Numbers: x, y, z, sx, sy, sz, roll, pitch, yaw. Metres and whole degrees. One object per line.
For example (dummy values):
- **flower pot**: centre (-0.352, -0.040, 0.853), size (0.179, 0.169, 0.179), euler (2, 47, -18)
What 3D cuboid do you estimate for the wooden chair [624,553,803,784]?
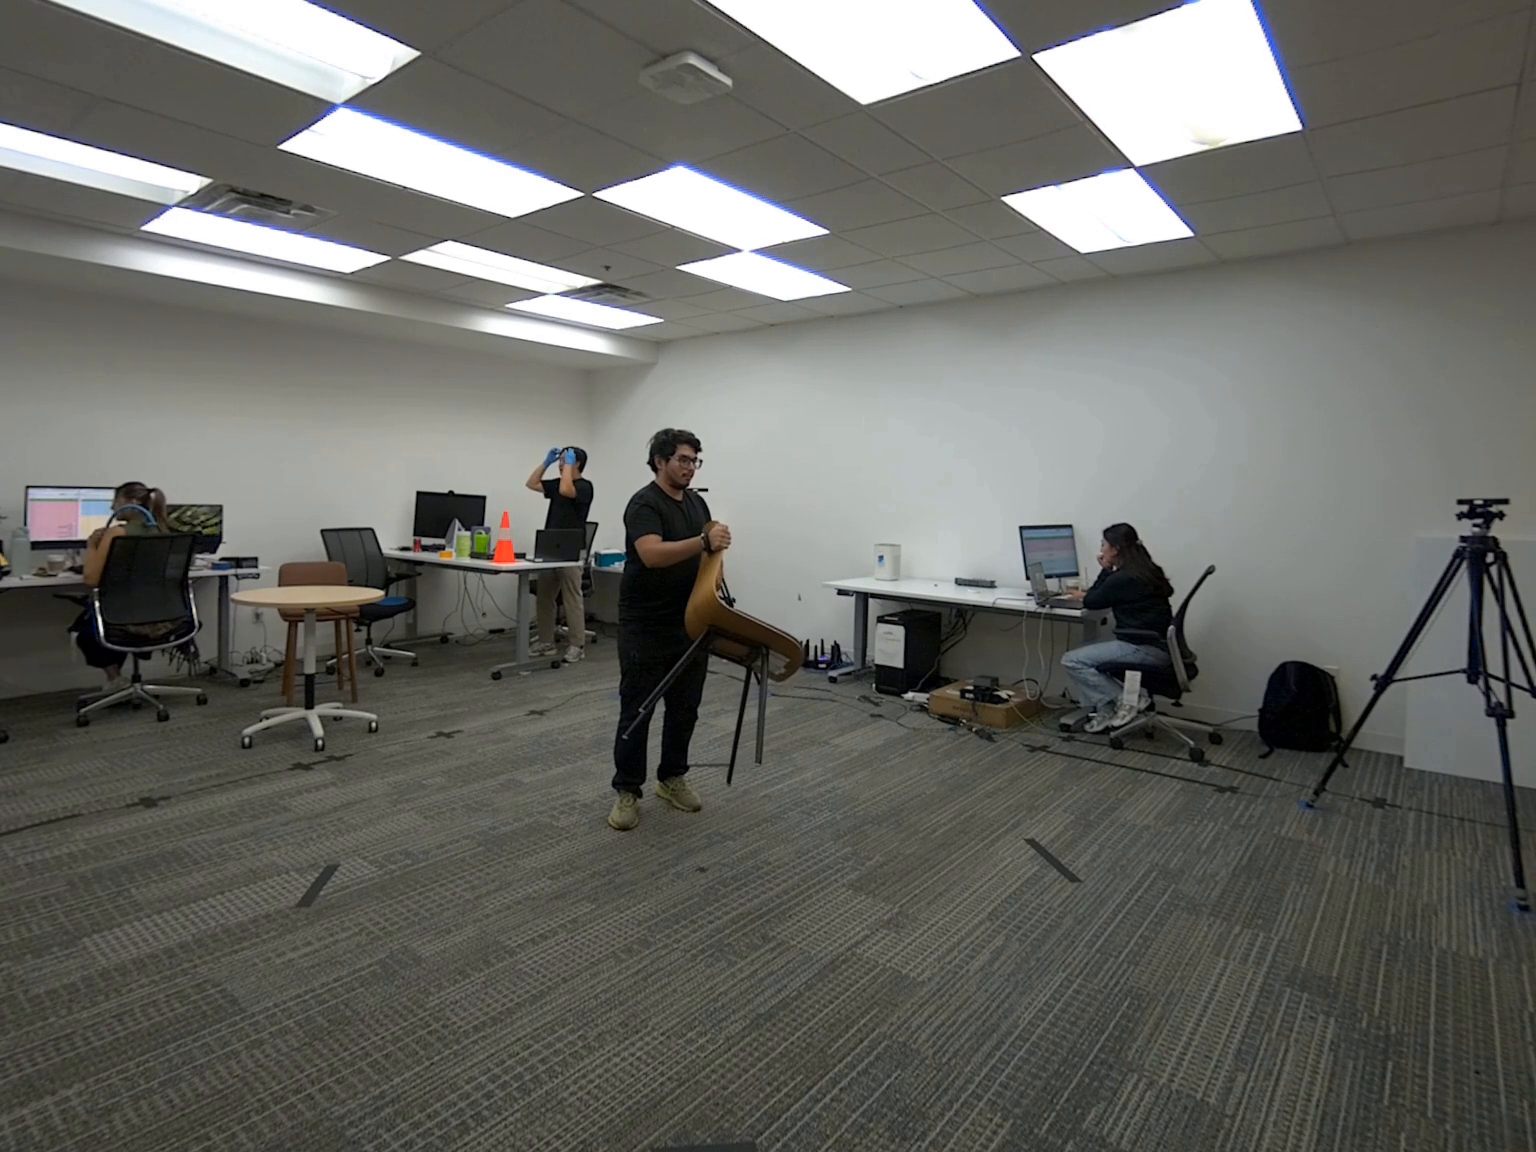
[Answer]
- **wooden chair**: centre (-0.144, 0.284, 3.287), size (0.520, 0.890, 0.474), euler (21, -28, -5)
